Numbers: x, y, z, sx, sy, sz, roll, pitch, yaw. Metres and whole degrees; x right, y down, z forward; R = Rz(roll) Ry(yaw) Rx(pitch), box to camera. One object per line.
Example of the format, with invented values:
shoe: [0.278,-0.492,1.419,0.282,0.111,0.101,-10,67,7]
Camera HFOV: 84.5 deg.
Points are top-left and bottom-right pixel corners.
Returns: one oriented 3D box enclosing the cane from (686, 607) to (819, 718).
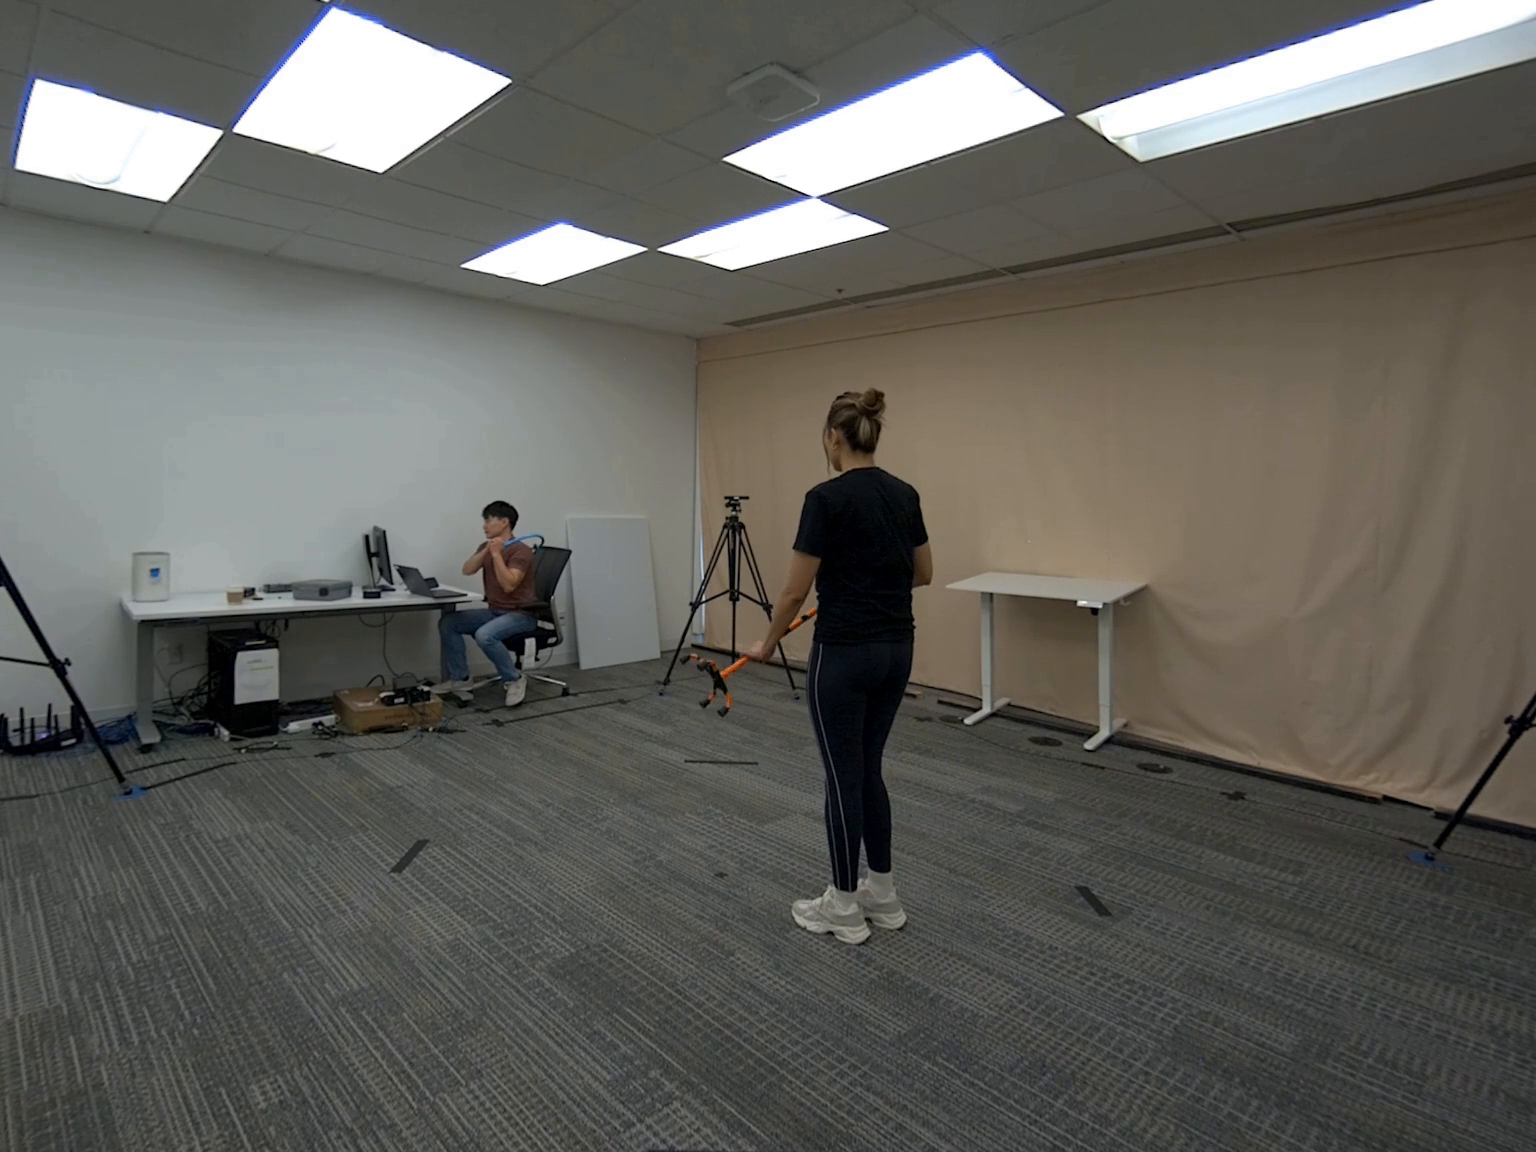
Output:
cane: [0.115,0.164,2.961,0.902,0.203,0.155,-33,19,-27]
